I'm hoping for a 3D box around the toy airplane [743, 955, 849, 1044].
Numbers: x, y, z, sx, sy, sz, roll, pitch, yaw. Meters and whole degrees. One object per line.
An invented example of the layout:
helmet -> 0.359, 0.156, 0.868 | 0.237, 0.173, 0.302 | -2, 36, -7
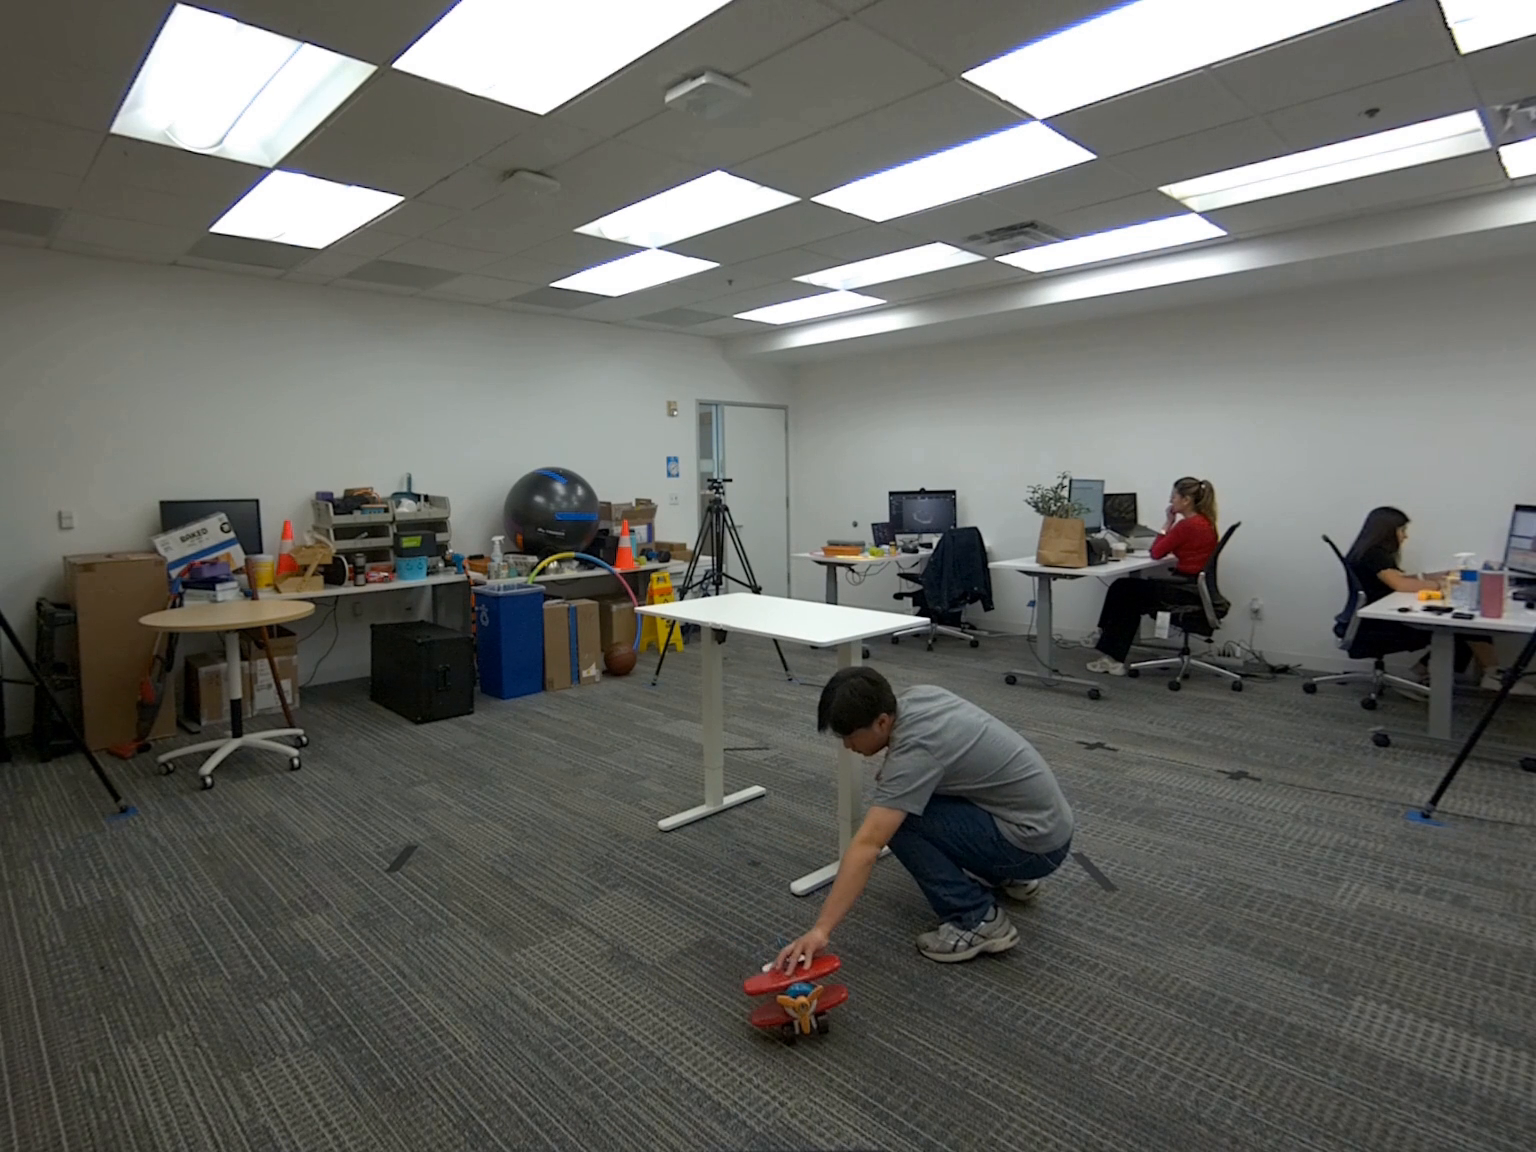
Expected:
toy airplane -> 0.049, 1.059, 2.191 | 0.247, 0.154, 0.268 | -21, 19, -35
